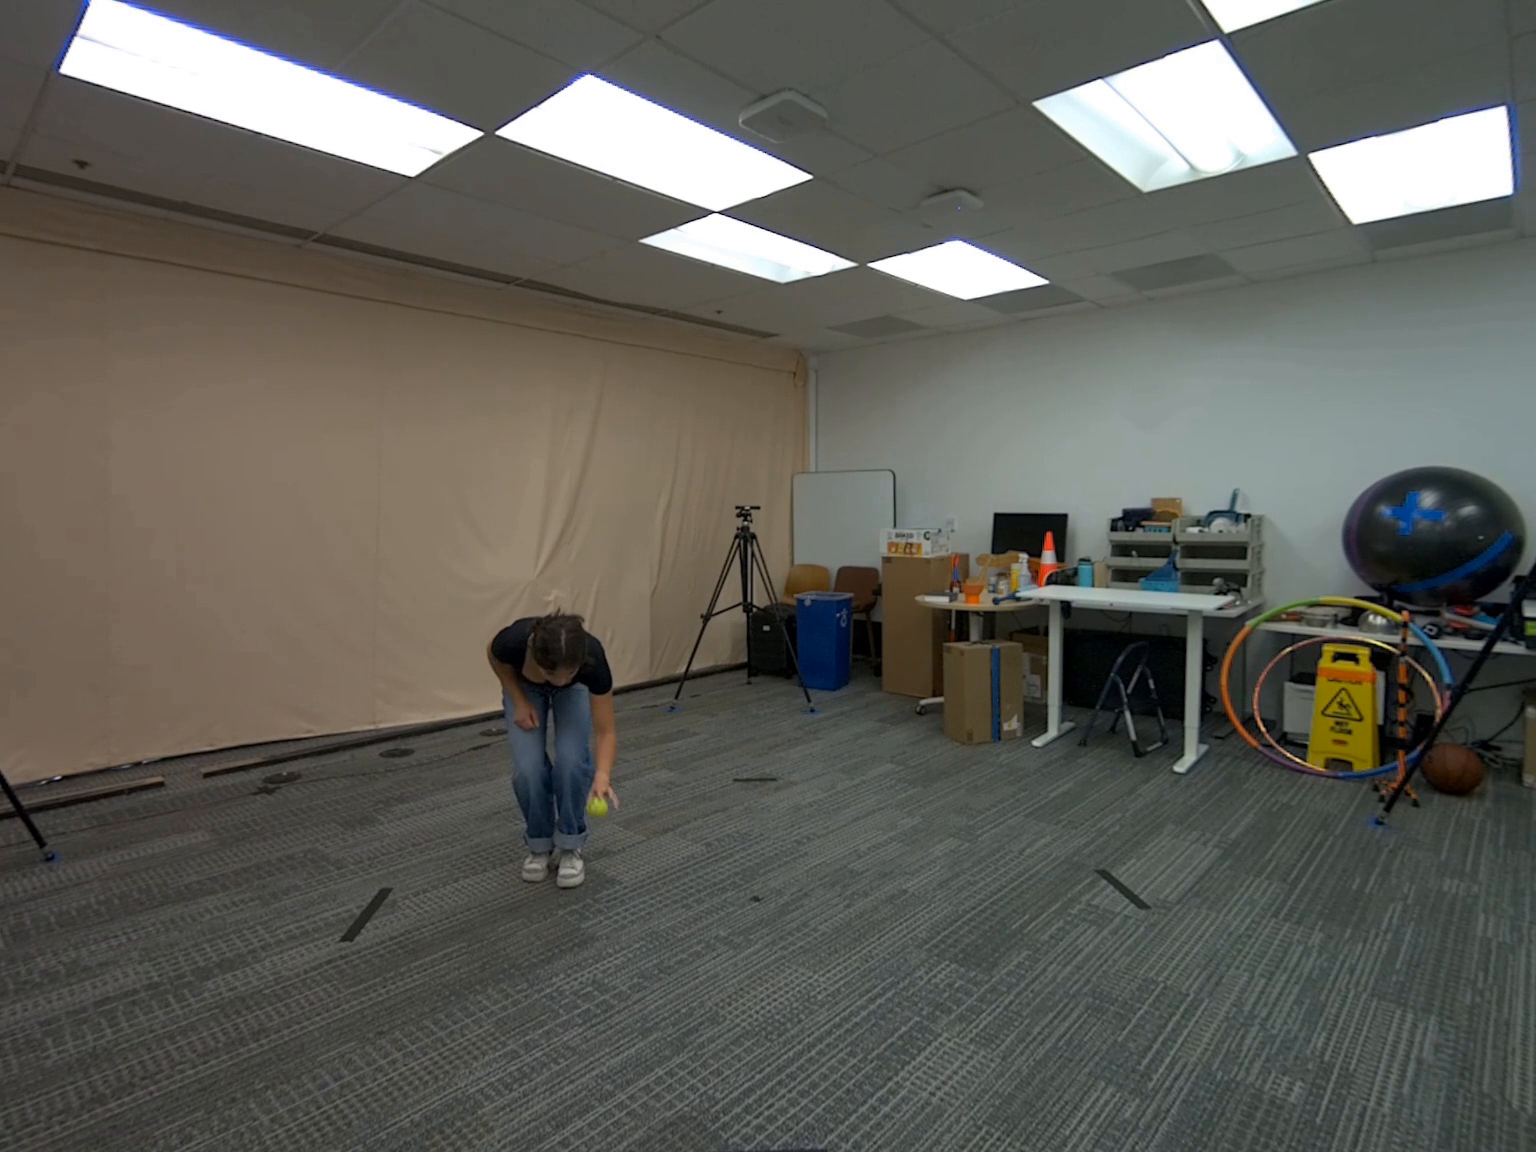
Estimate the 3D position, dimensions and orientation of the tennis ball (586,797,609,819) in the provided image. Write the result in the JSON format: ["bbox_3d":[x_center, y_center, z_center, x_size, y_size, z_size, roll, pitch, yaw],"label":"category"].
[{"bbox_3d":[-0.549,0.774,2.746,0.066,0.066,0.067,0,4,-2],"label":"tennis ball"}]
